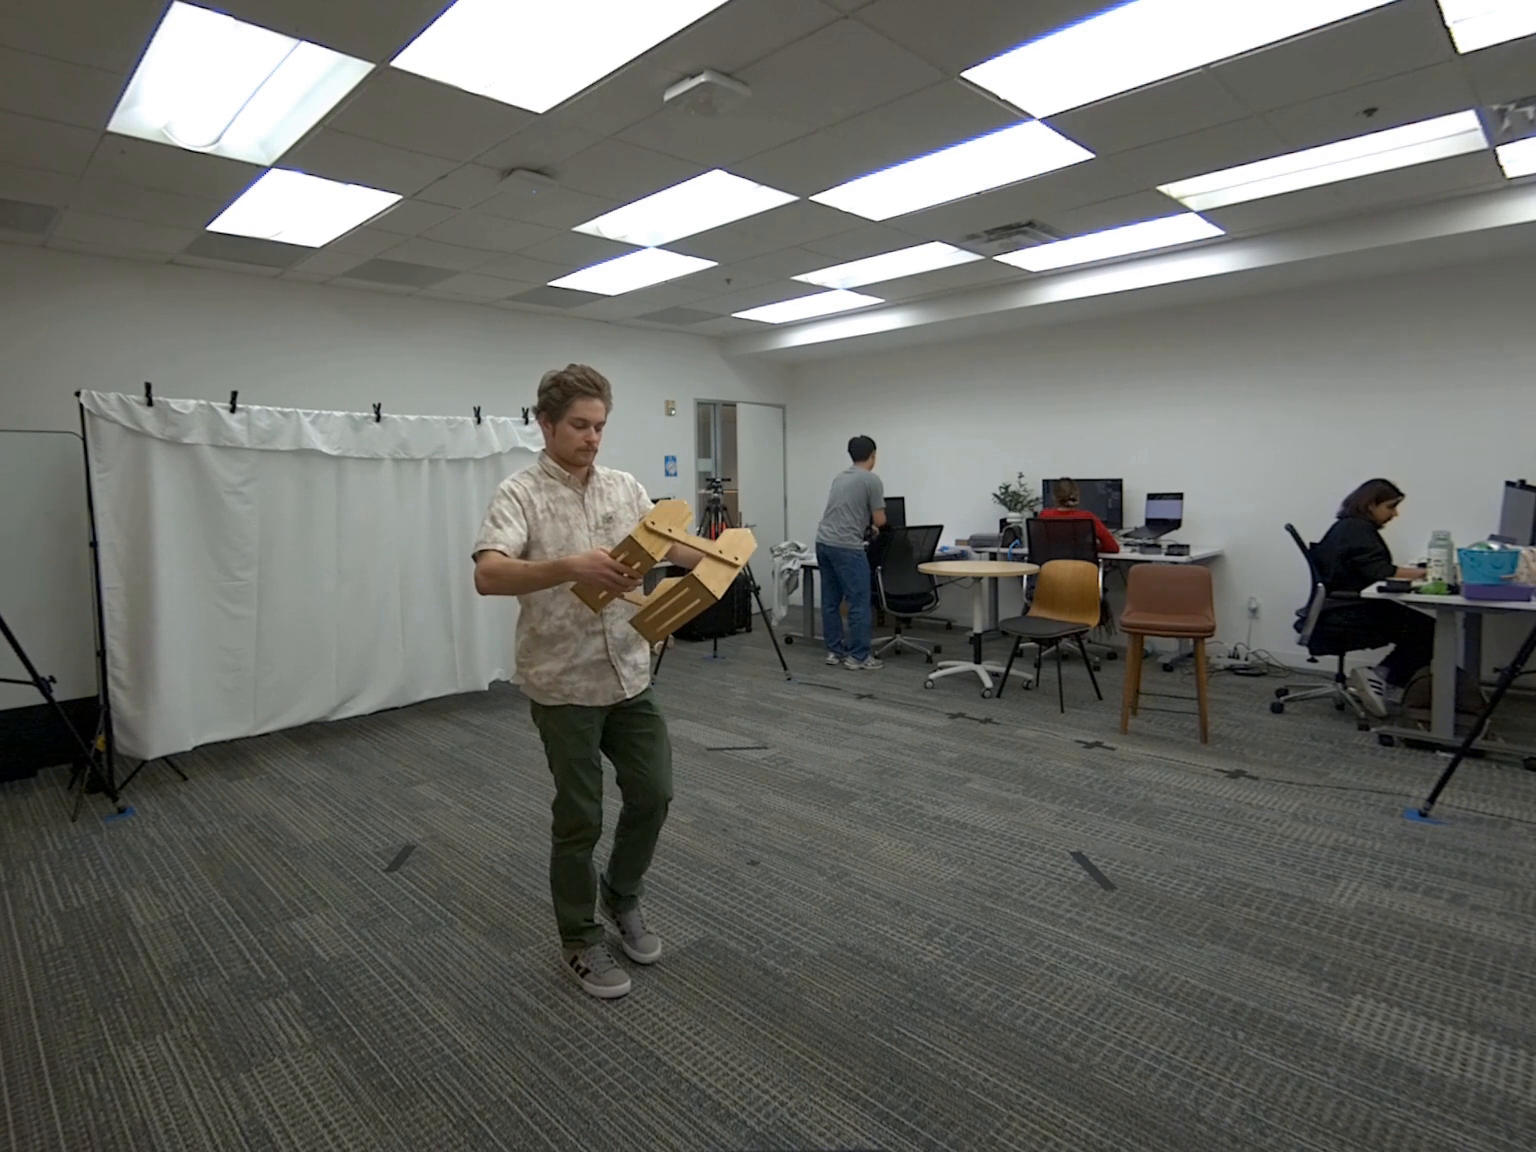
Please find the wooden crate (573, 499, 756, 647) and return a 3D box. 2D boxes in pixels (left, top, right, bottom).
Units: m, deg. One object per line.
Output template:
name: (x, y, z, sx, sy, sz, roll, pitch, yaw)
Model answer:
wooden crate: (-0.258, -0.030, 2.155, 0.326, 0.270, 0.304, -37, 13, 41)
